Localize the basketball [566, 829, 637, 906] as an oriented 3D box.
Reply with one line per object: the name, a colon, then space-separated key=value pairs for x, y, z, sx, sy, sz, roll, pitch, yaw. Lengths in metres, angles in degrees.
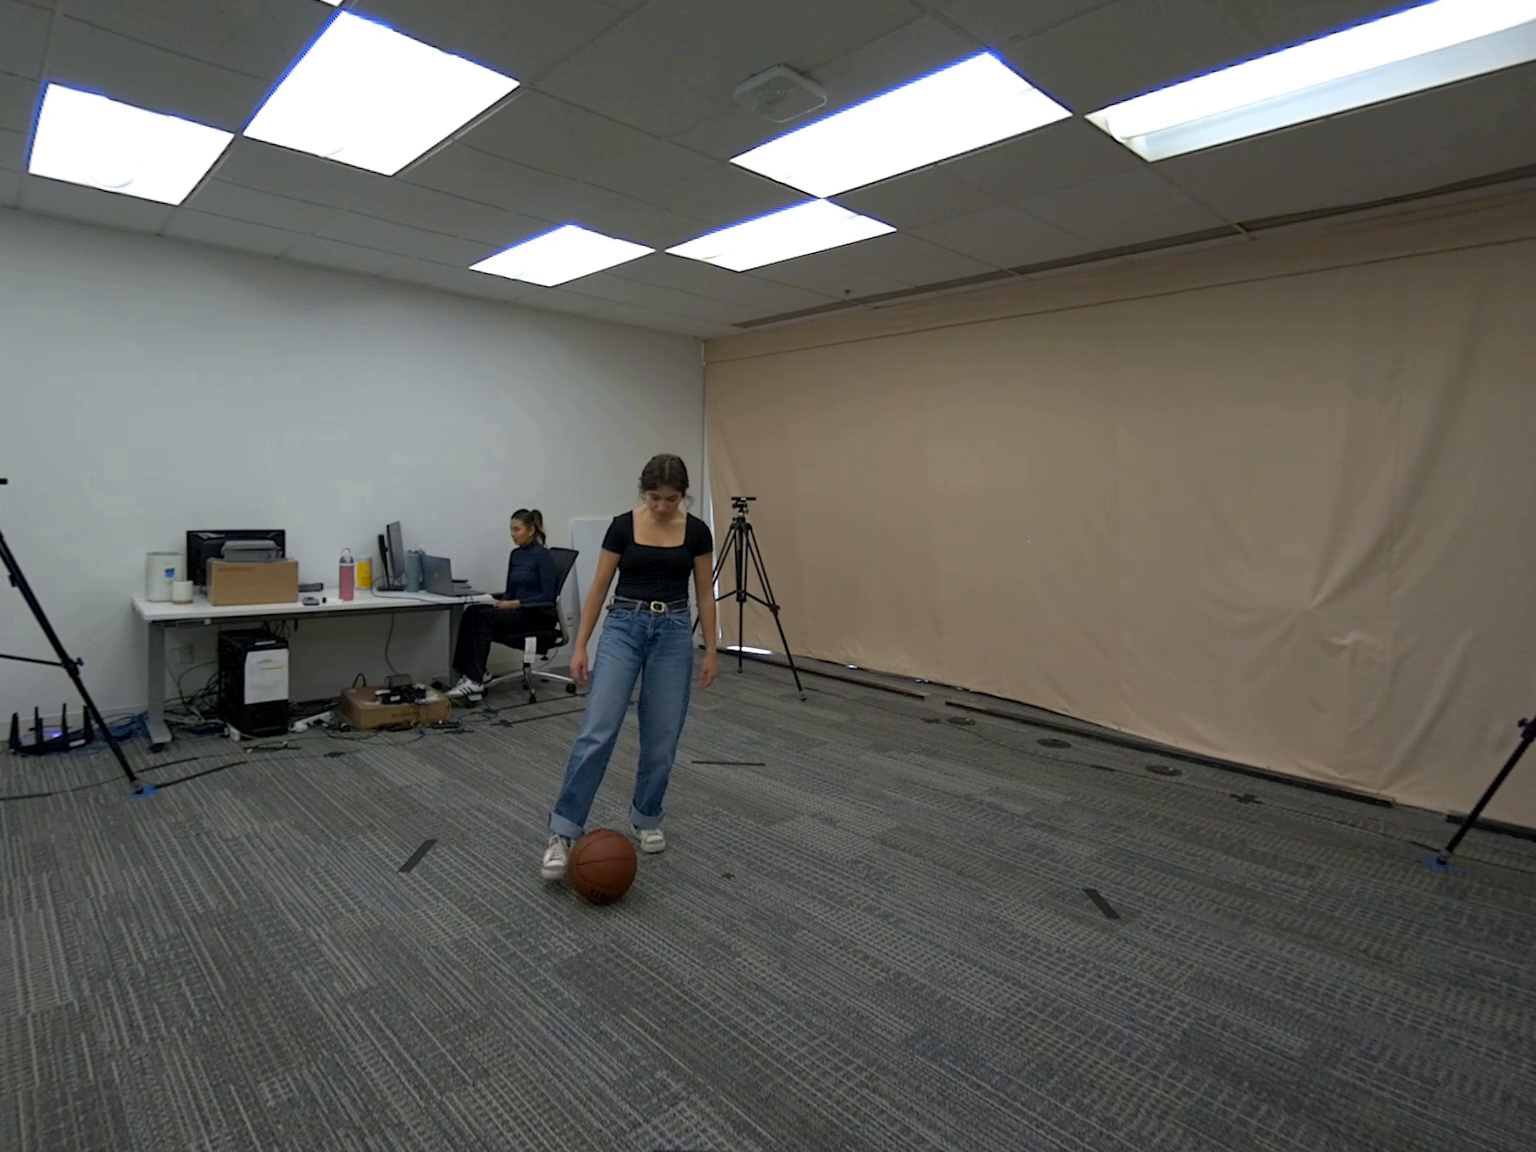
basketball: x=-0.579 y=0.995 z=2.896 sx=0.236 sy=0.235 sz=0.237 roll=1 pitch=4 yaw=-1
